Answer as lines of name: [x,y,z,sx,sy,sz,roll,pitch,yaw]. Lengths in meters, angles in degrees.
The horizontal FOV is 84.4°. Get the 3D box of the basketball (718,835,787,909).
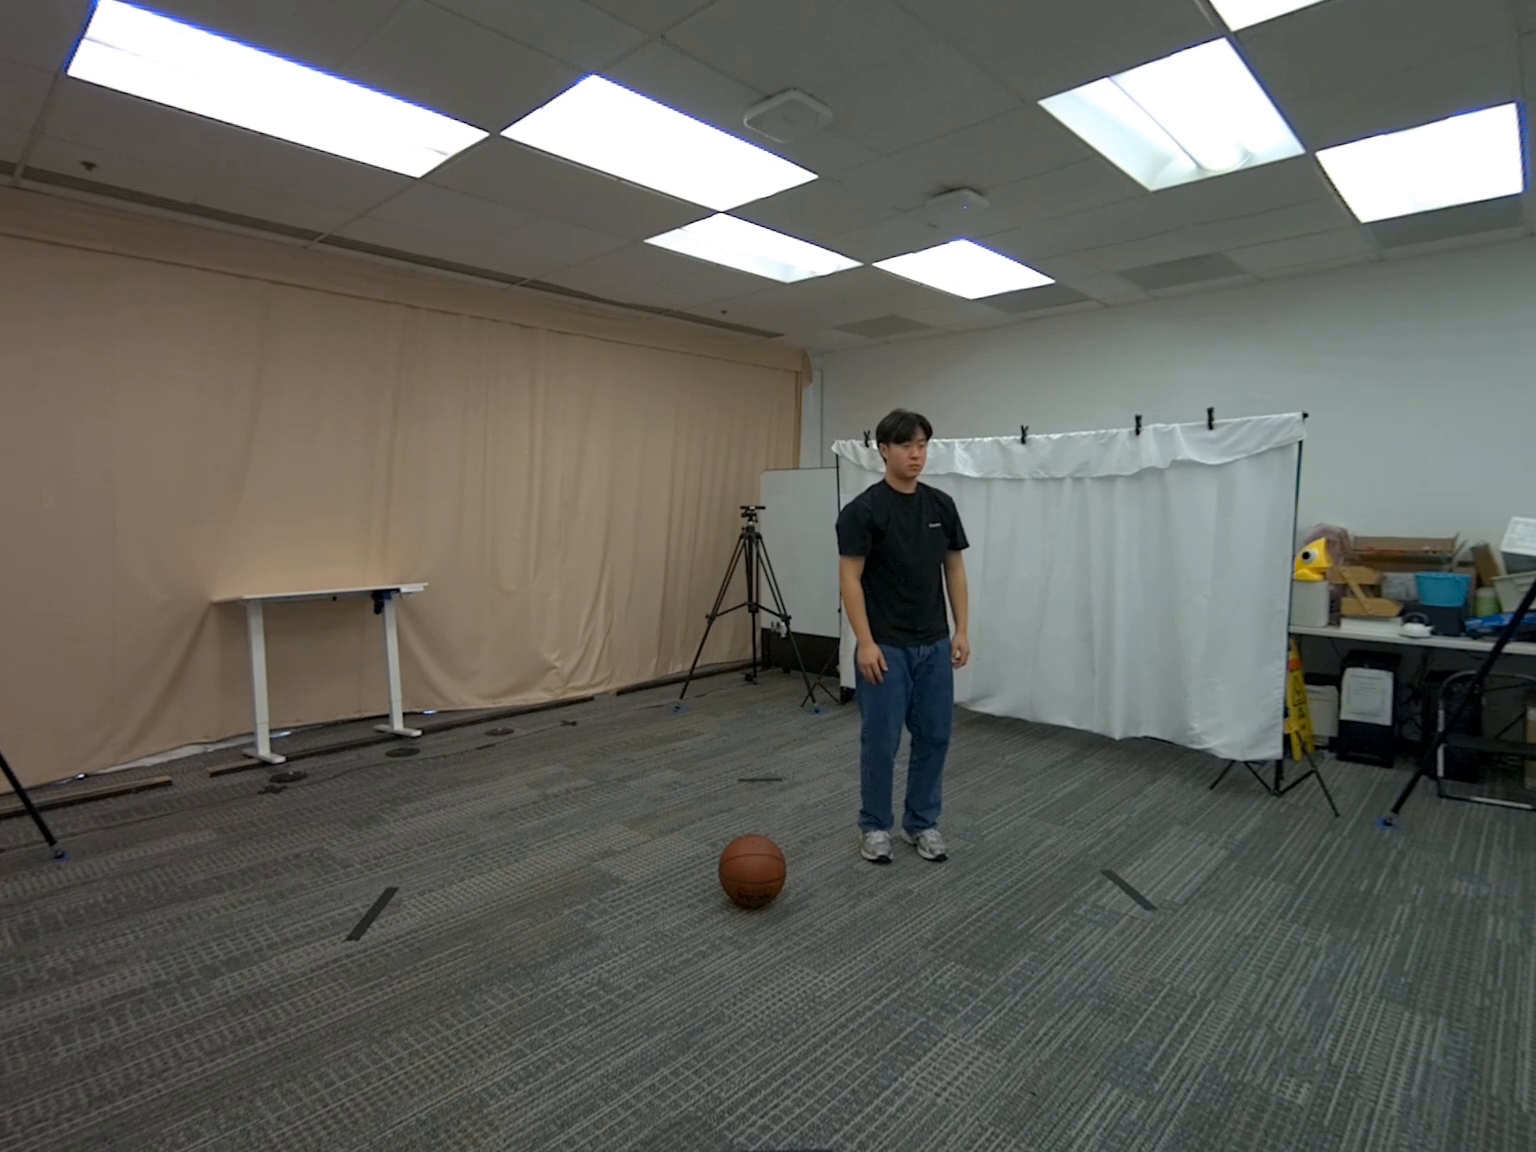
basketball: [-0.051,1.026,2.944,0.236,0.235,0.237,0,4,-2]
